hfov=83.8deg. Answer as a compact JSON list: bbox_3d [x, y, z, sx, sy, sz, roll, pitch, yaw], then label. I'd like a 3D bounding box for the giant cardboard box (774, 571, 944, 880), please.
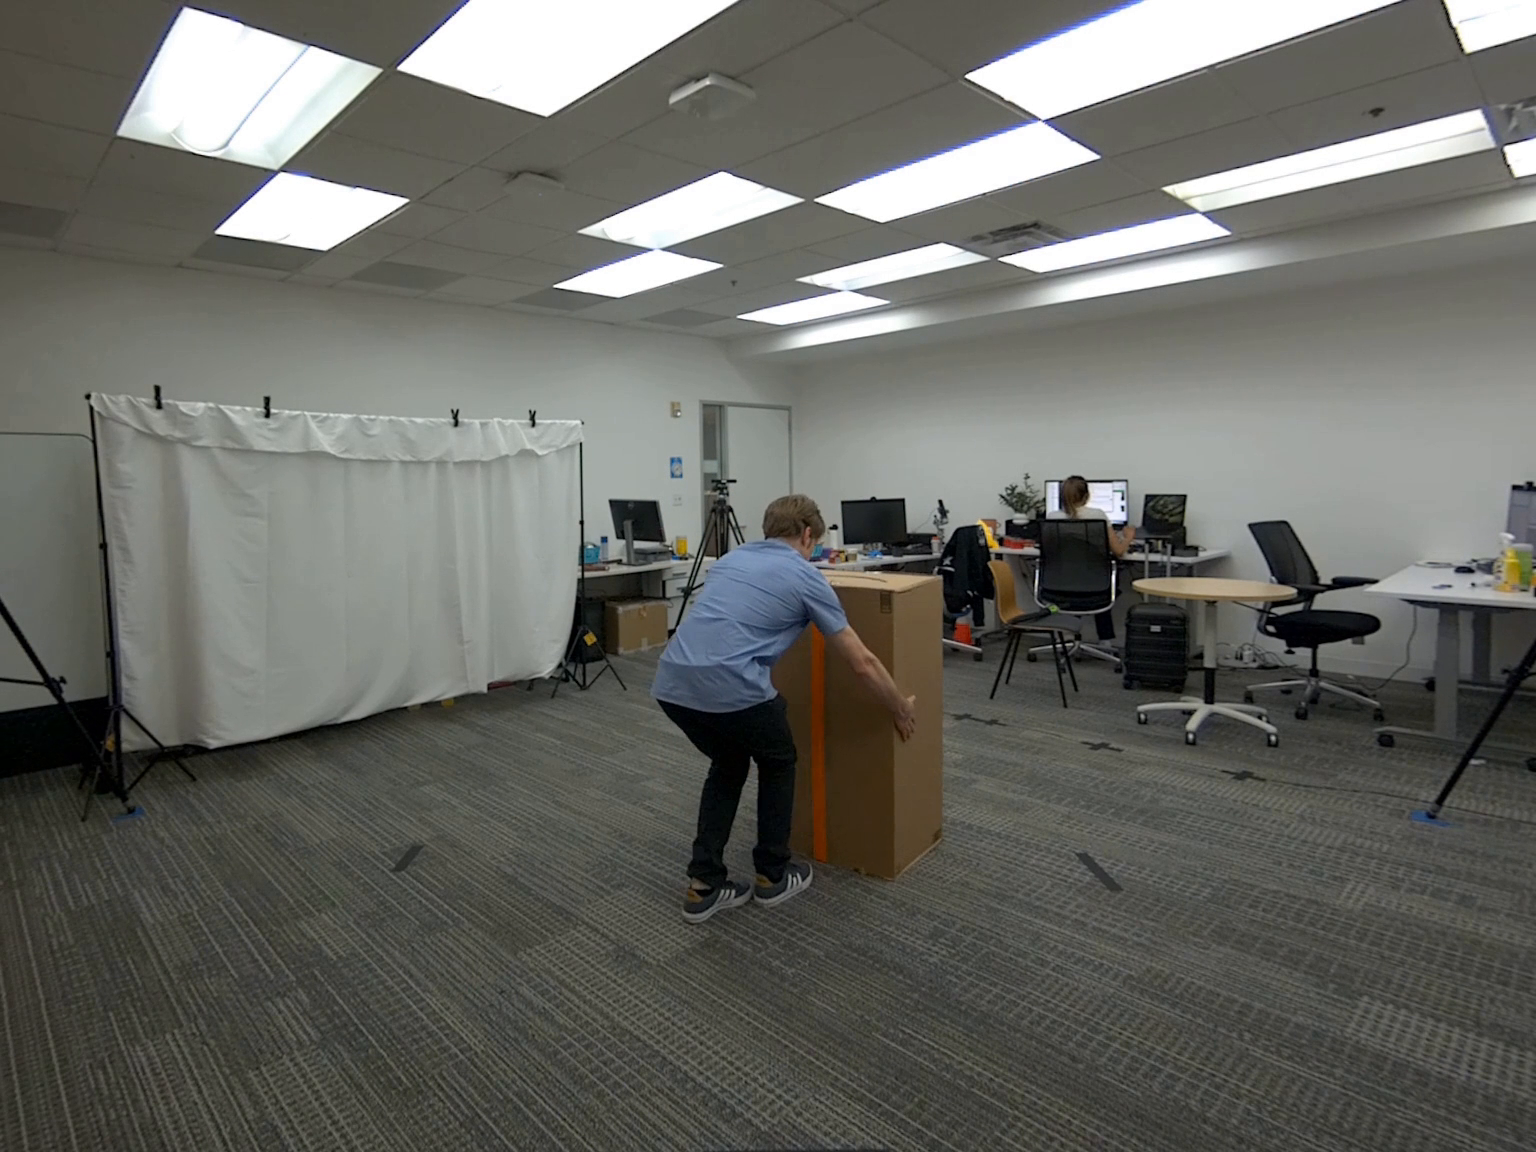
[{"bbox_3d":[0.315,0.514,3.254,0.594,1.021,0.416,3,6,37],"label":"giant cardboard box"}]
